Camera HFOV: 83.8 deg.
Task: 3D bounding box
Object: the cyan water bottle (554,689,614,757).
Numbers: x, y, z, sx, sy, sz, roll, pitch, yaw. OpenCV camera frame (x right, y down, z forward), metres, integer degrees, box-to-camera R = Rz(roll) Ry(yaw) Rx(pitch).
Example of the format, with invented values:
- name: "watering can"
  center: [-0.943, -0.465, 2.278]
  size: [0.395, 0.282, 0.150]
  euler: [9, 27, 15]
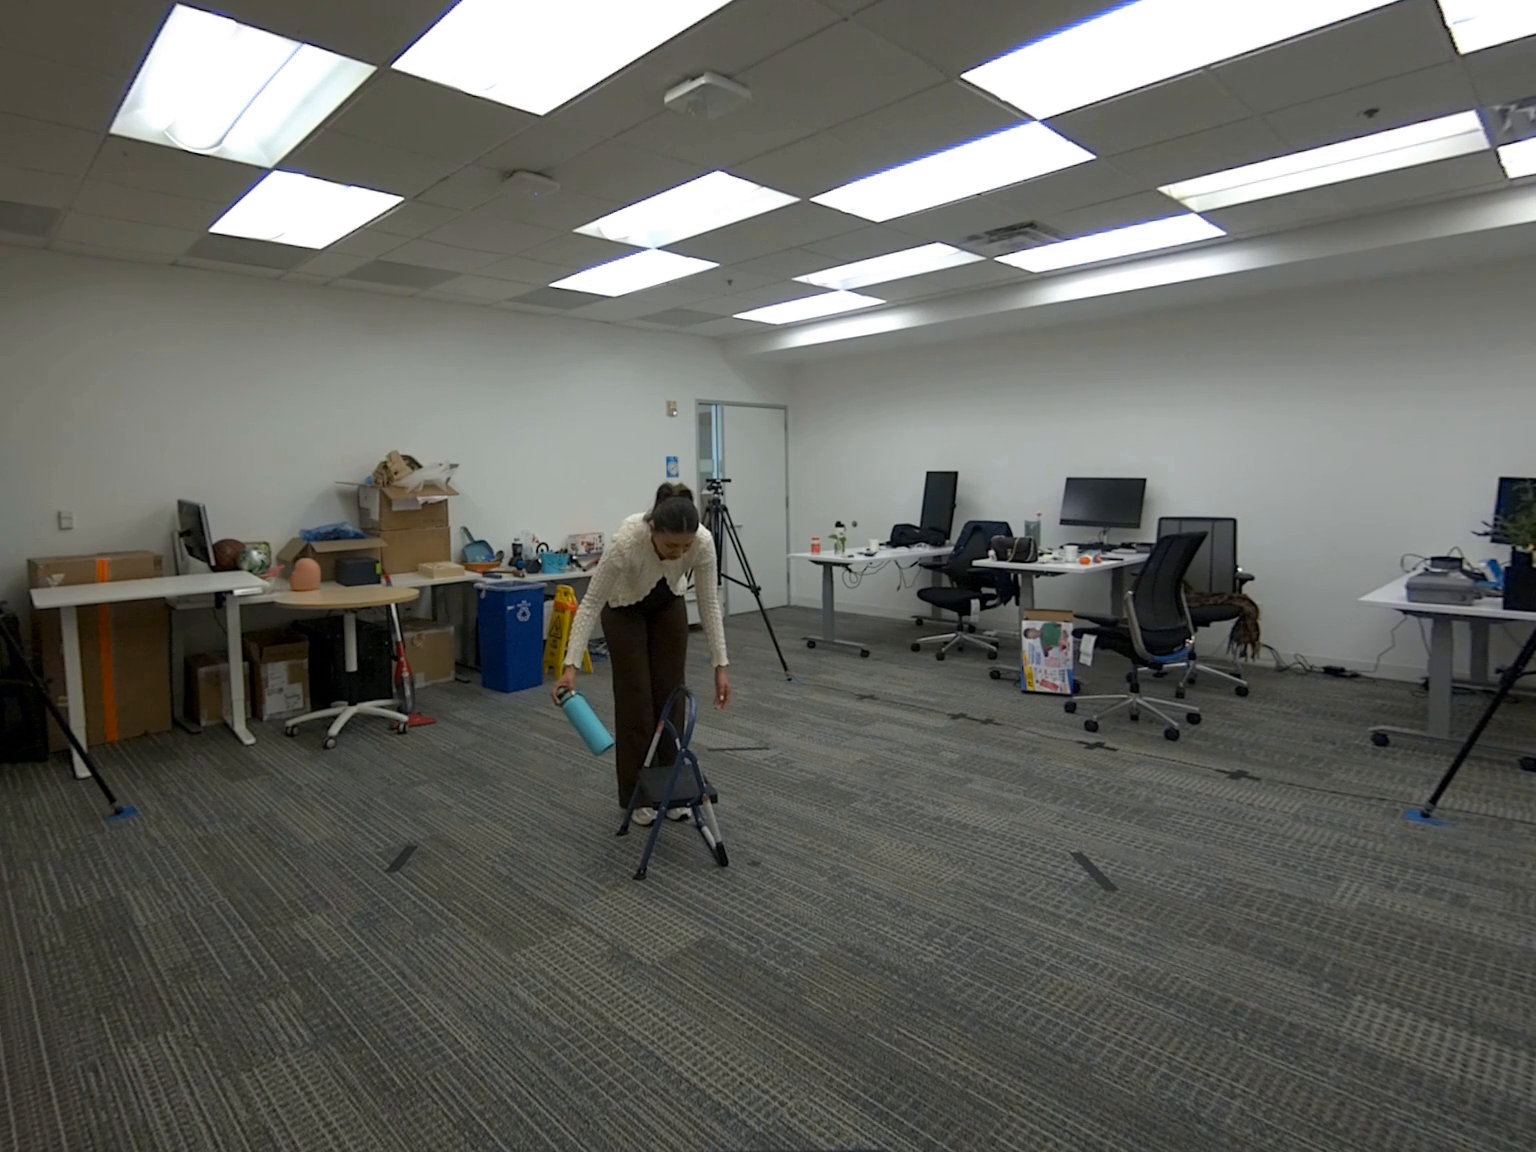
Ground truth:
- name: "cyan water bottle"
  center: [-0.679, 0.547, 3.198]
  size: [0.092, 0.289, 0.091]
  euler: [-34, -15, -12]
